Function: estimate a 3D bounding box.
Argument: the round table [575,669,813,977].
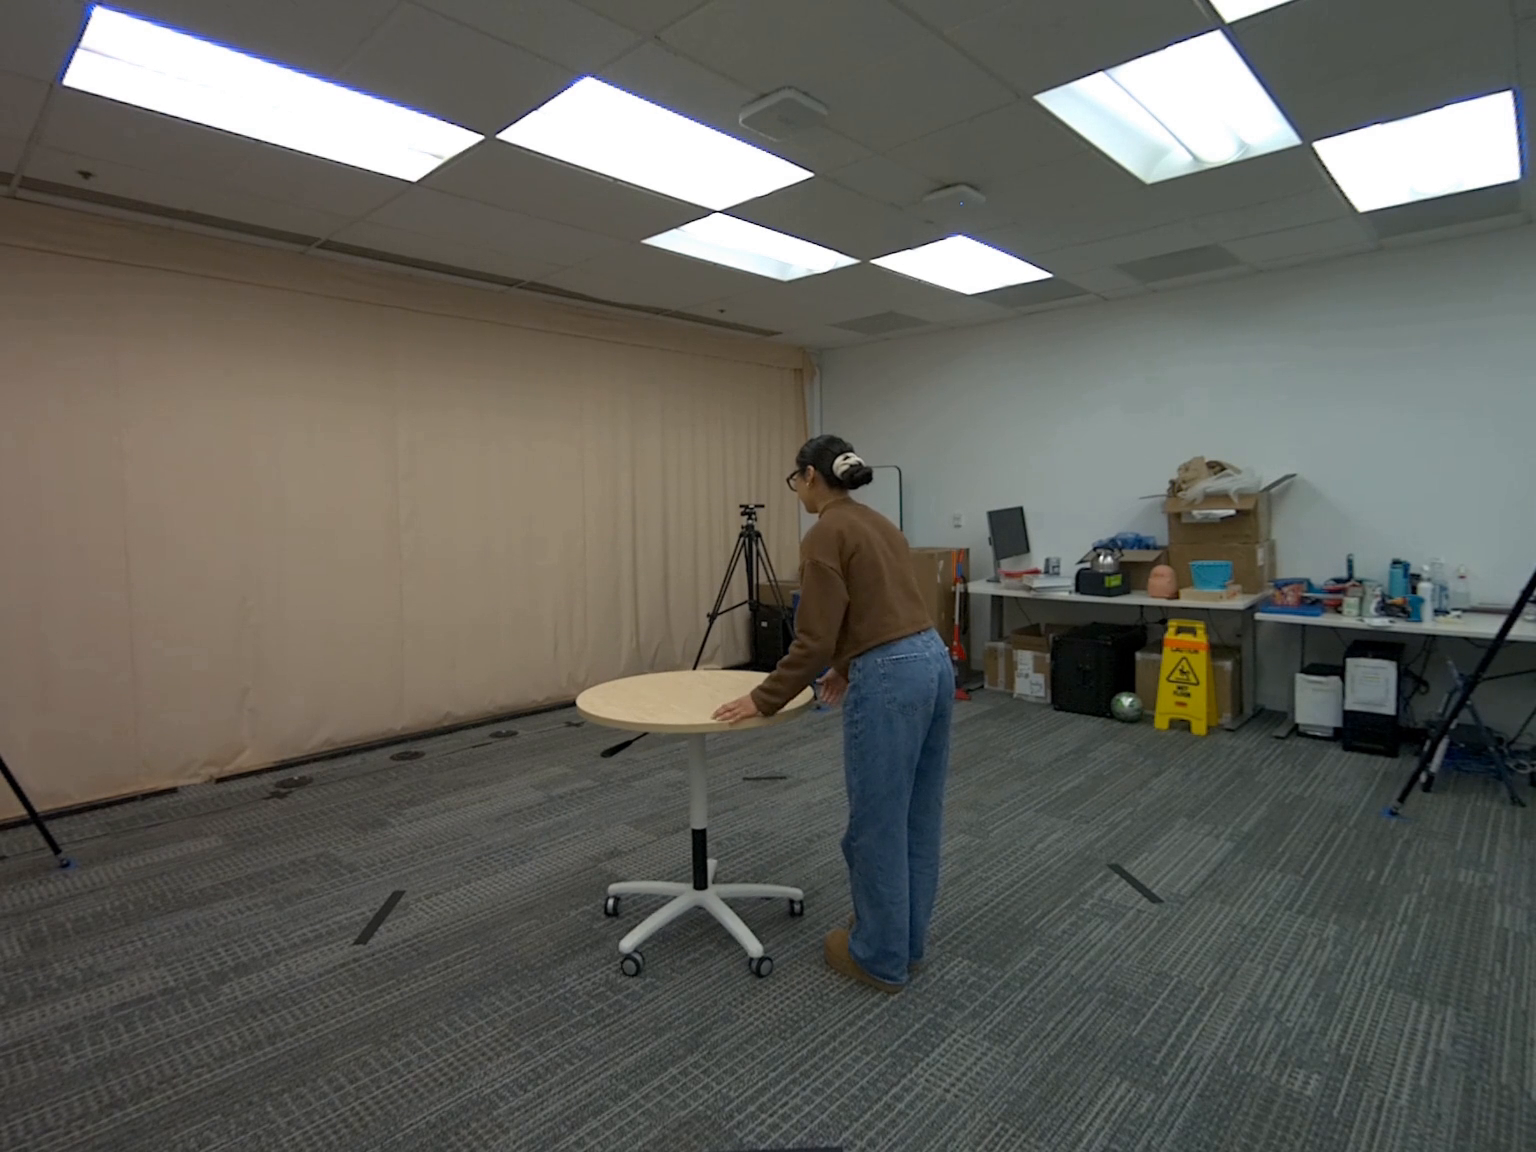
[{"bbox_3d":[-0.219,0.773,2.757,0.763,0.792,0.766,-1,4,-2],"label":"round table"}]
